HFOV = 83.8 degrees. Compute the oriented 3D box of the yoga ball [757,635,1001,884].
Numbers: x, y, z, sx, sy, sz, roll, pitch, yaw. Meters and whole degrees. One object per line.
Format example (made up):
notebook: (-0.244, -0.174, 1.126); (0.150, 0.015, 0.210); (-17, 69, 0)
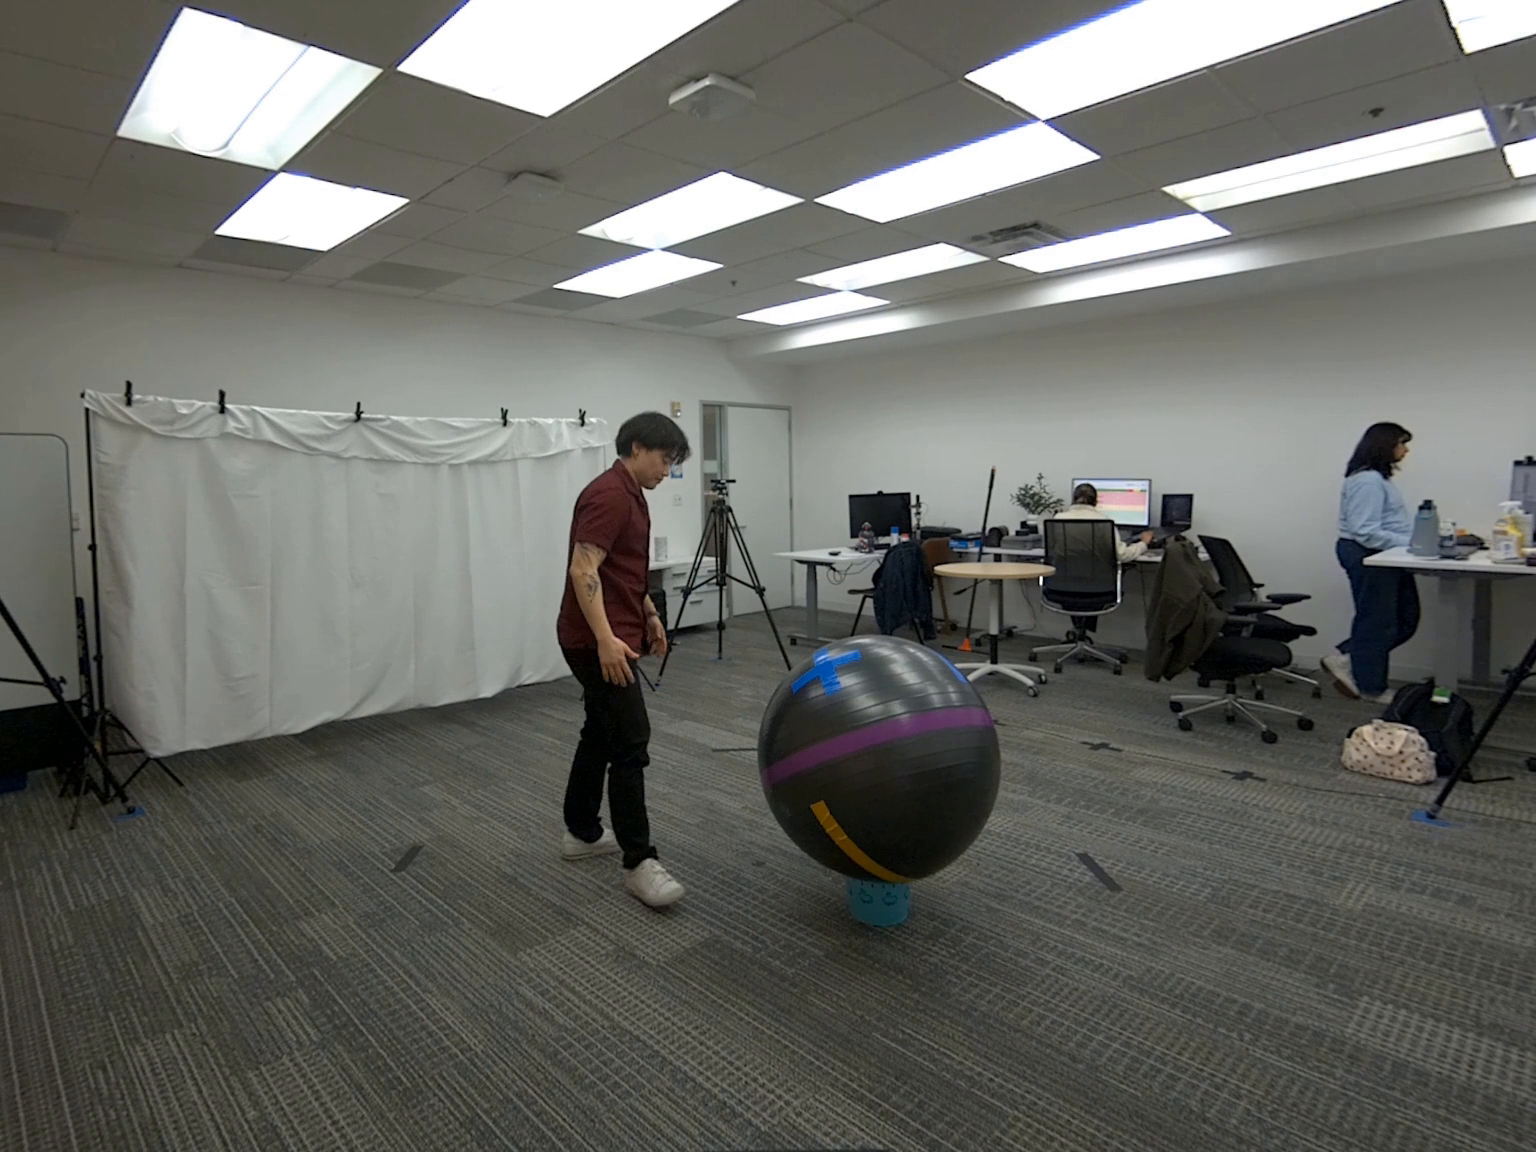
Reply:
yoga ball: (0.350, 0.578, 2.716); (0.757, 0.755, 0.762); (-1, 5, -2)
